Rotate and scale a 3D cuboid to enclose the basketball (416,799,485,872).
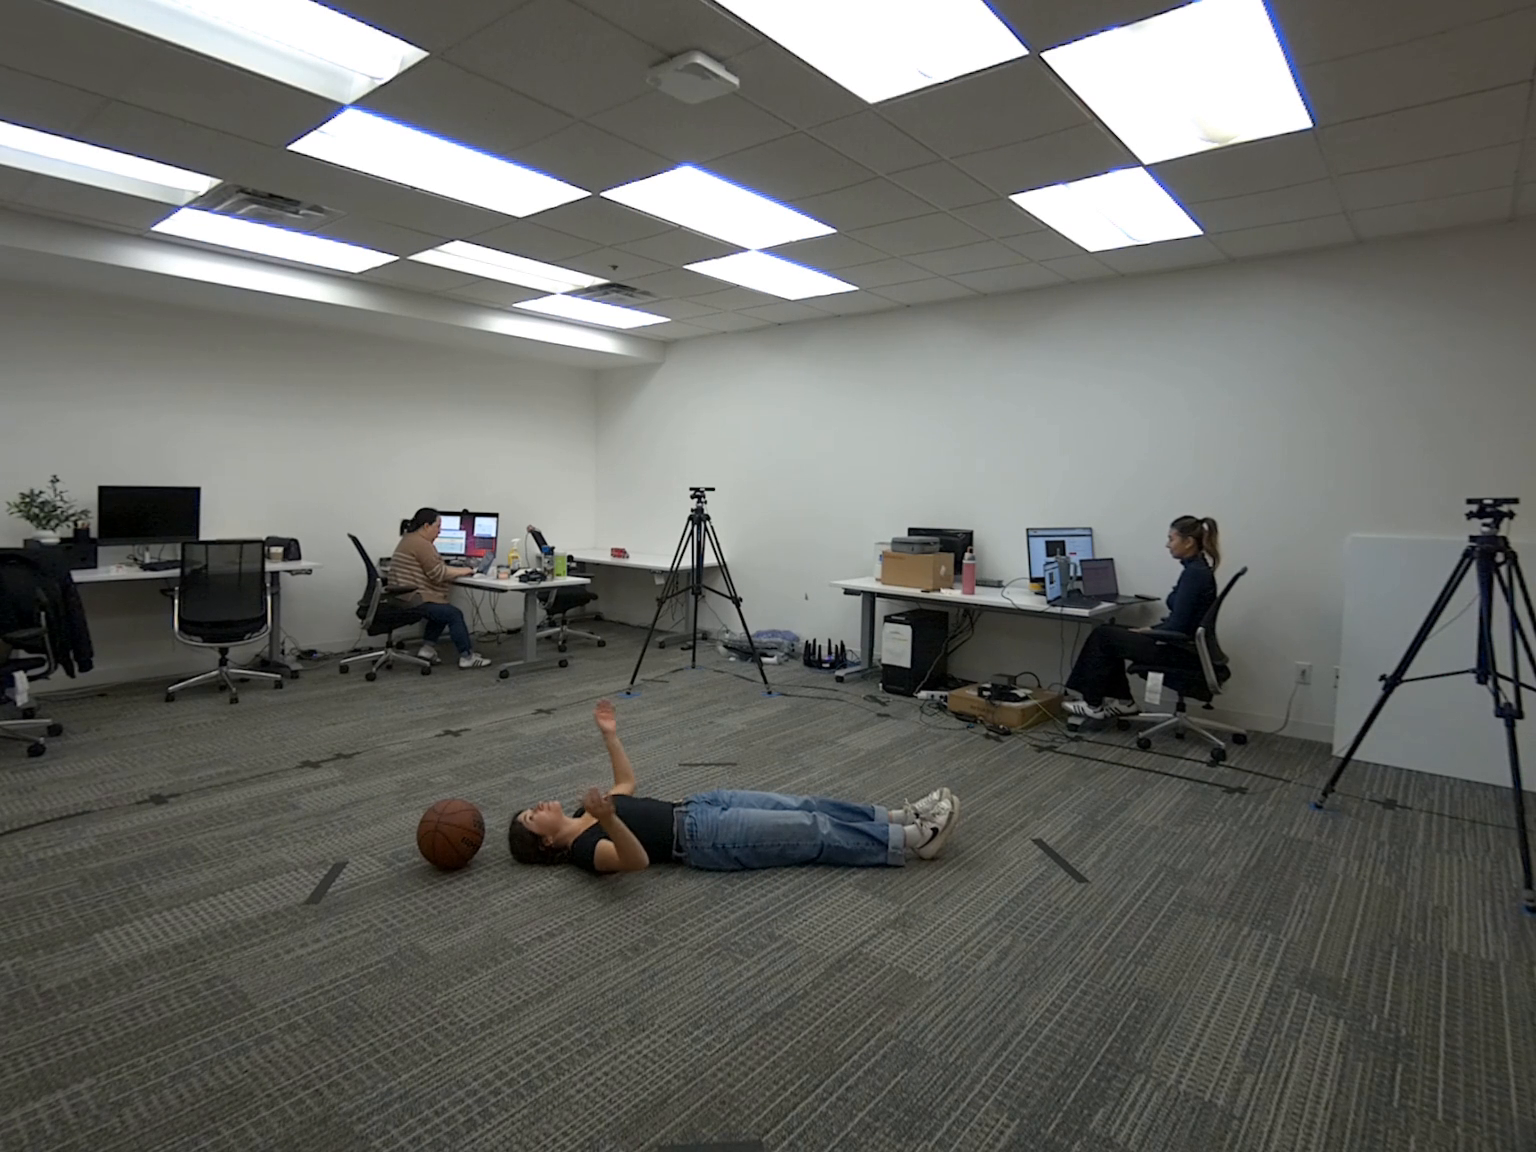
[{"bbox_3d":[-1.167,0.930,3.098,0.235,0.235,0.237,1,4,-2],"label":"basketball"}]
